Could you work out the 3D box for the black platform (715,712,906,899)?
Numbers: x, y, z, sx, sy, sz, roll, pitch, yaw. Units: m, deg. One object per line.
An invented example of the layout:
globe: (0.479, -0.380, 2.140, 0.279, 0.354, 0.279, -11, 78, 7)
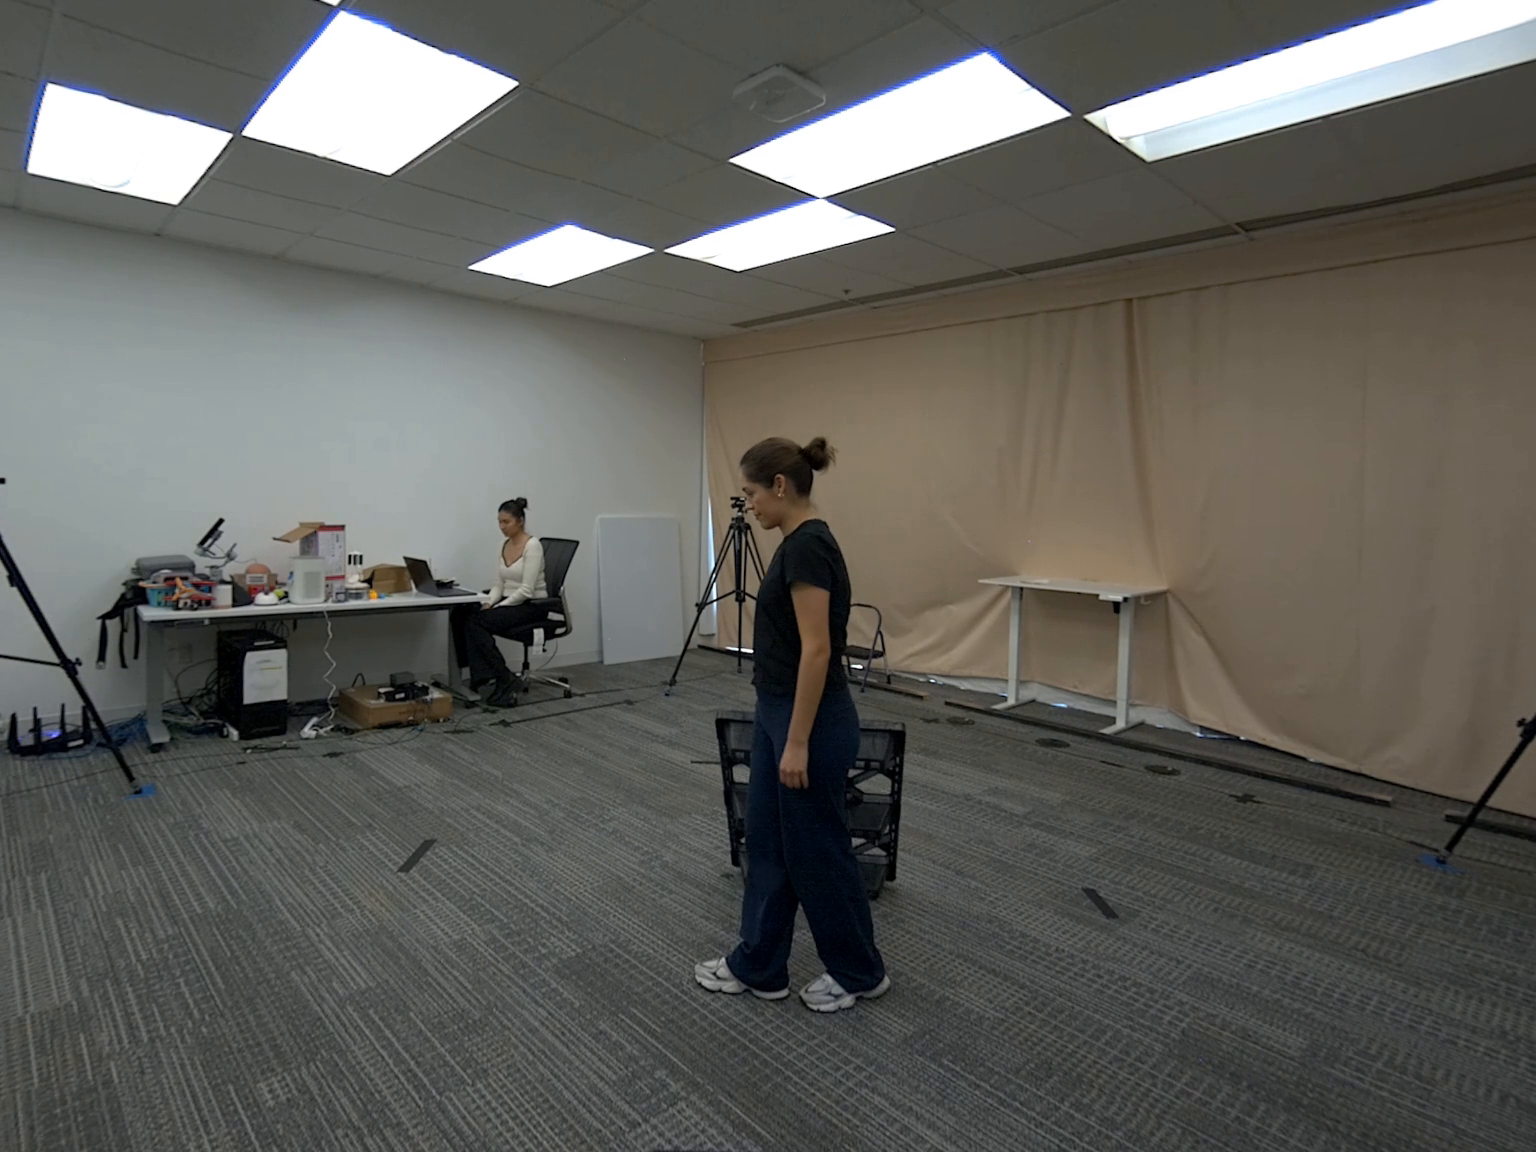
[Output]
black platform: (0.138, 0.792, 2.813, 0.609, 0.788, 0.145, 2, 36, 8)
